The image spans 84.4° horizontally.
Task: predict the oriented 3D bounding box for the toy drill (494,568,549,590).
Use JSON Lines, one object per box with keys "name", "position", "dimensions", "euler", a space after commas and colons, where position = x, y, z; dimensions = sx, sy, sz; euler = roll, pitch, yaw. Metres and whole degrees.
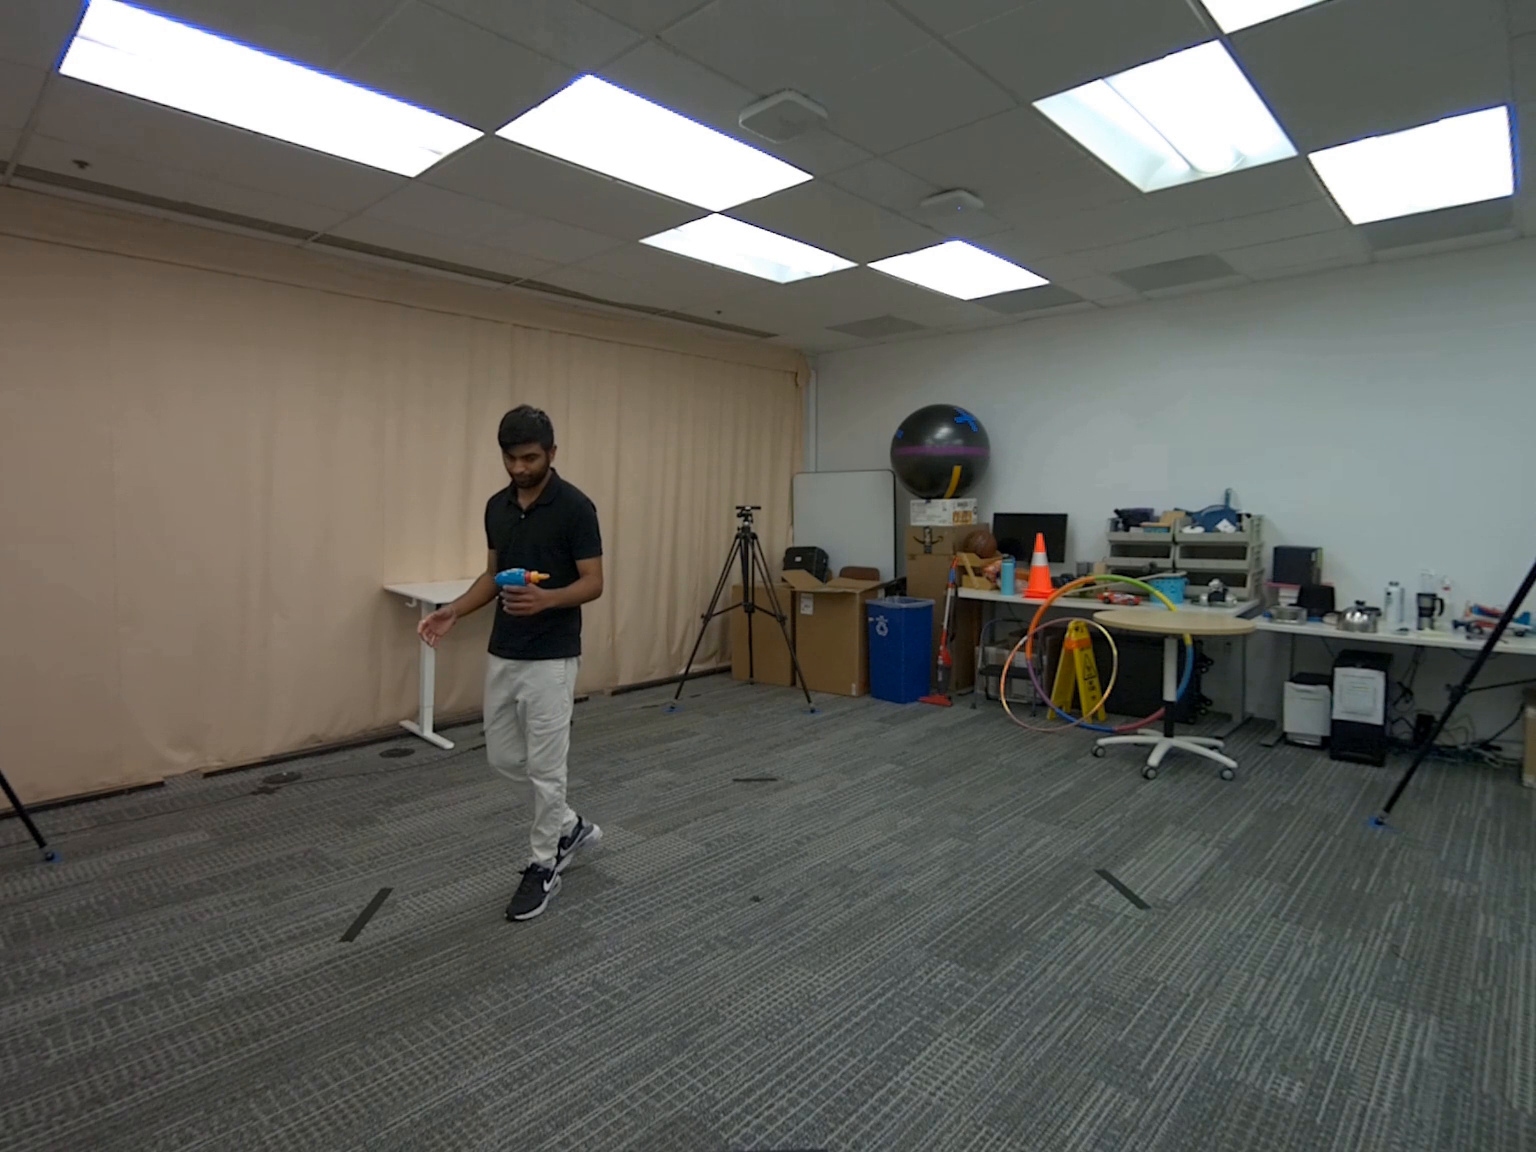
{"name": "toy drill", "position": [-0.756, 0.039, 2.607], "dimensions": [0.170, 0.143, 0.062], "euler": [-2, 27, 2]}
